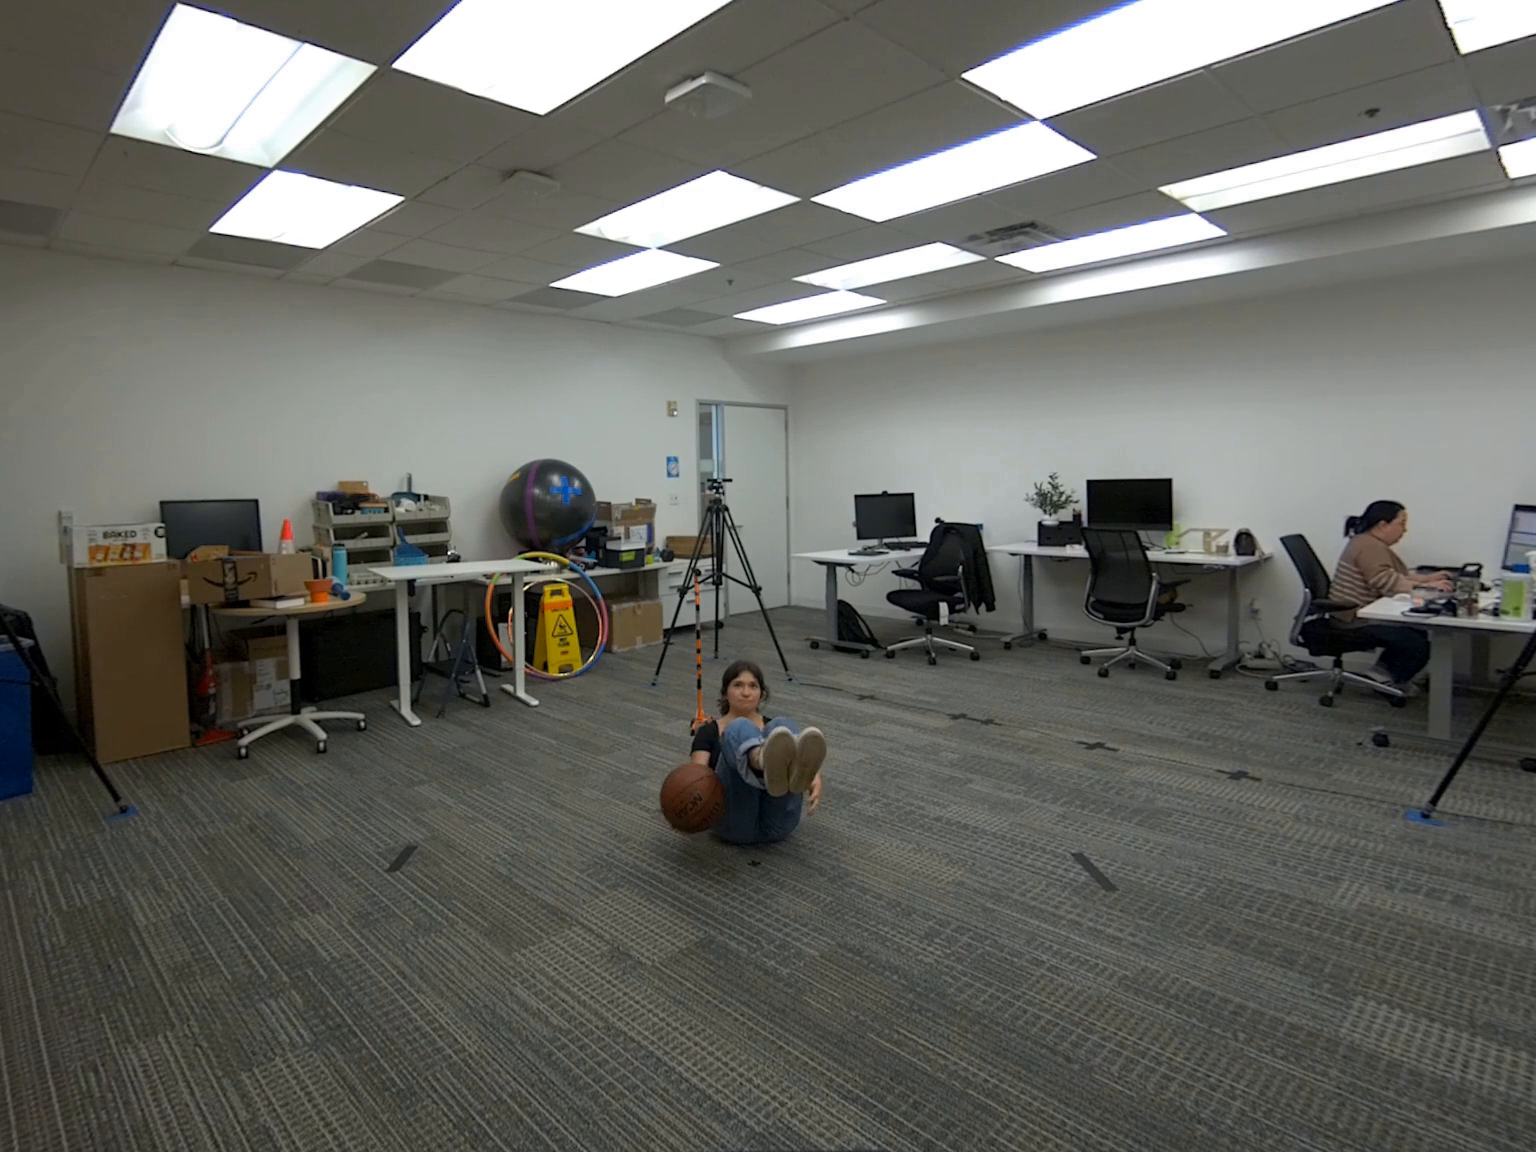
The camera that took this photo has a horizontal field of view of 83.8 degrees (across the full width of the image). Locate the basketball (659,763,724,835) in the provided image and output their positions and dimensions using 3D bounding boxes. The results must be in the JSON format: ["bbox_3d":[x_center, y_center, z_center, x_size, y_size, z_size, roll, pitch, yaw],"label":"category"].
[{"bbox_3d":[-0.258,0.782,3.060,0.236,0.235,0.237,-1,5,-2],"label":"basketball"}]
